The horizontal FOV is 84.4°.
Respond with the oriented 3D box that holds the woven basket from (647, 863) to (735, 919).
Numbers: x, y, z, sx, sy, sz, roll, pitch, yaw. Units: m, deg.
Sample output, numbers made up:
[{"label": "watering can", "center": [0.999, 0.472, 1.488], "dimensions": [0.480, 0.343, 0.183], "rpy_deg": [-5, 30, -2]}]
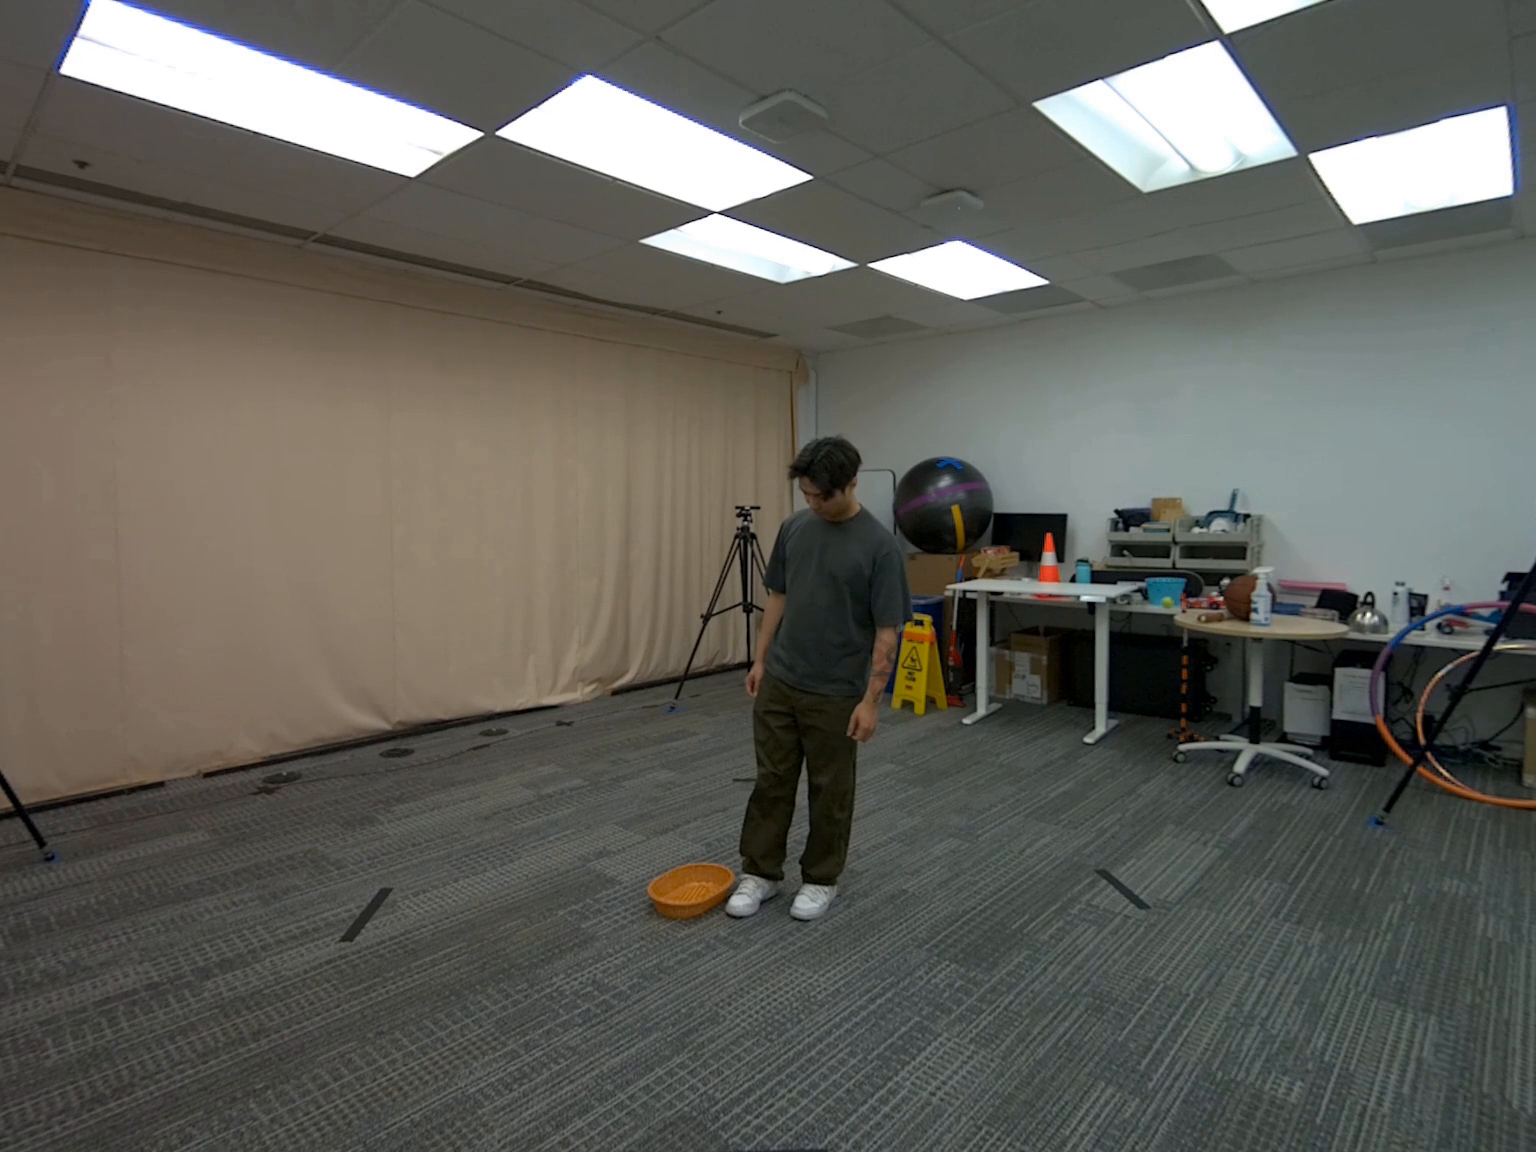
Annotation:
[{"label": "woven basket", "center": [-0.268, 1.111, 2.966], "dimensions": [0.260, 0.073, 0.340], "rpy_deg": [3, 5, 37]}]
